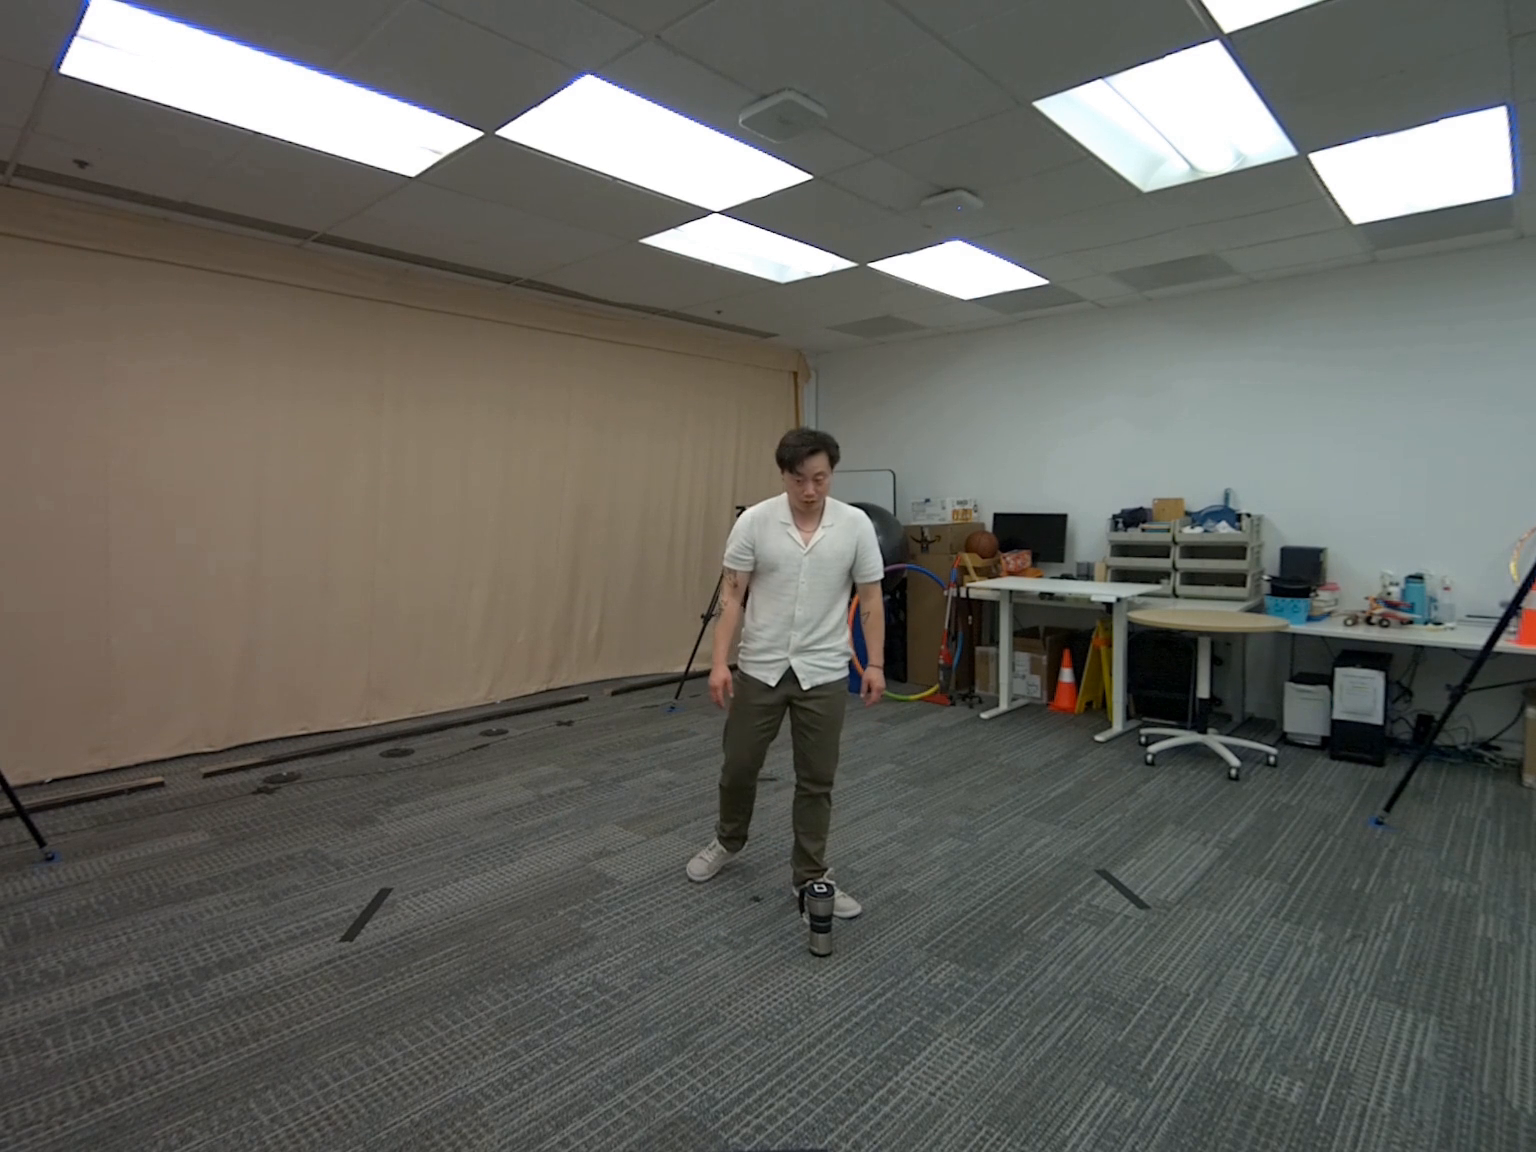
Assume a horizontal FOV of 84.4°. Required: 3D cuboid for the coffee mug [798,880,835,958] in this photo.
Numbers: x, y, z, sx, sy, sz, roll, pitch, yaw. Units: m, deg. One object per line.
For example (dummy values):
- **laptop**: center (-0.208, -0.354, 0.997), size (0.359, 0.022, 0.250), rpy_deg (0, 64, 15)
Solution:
- **coffee mug**: center (0.159, 1.067, 2.648), size (0.086, 0.202, 0.125), rpy_deg (-4, 7, -23)
